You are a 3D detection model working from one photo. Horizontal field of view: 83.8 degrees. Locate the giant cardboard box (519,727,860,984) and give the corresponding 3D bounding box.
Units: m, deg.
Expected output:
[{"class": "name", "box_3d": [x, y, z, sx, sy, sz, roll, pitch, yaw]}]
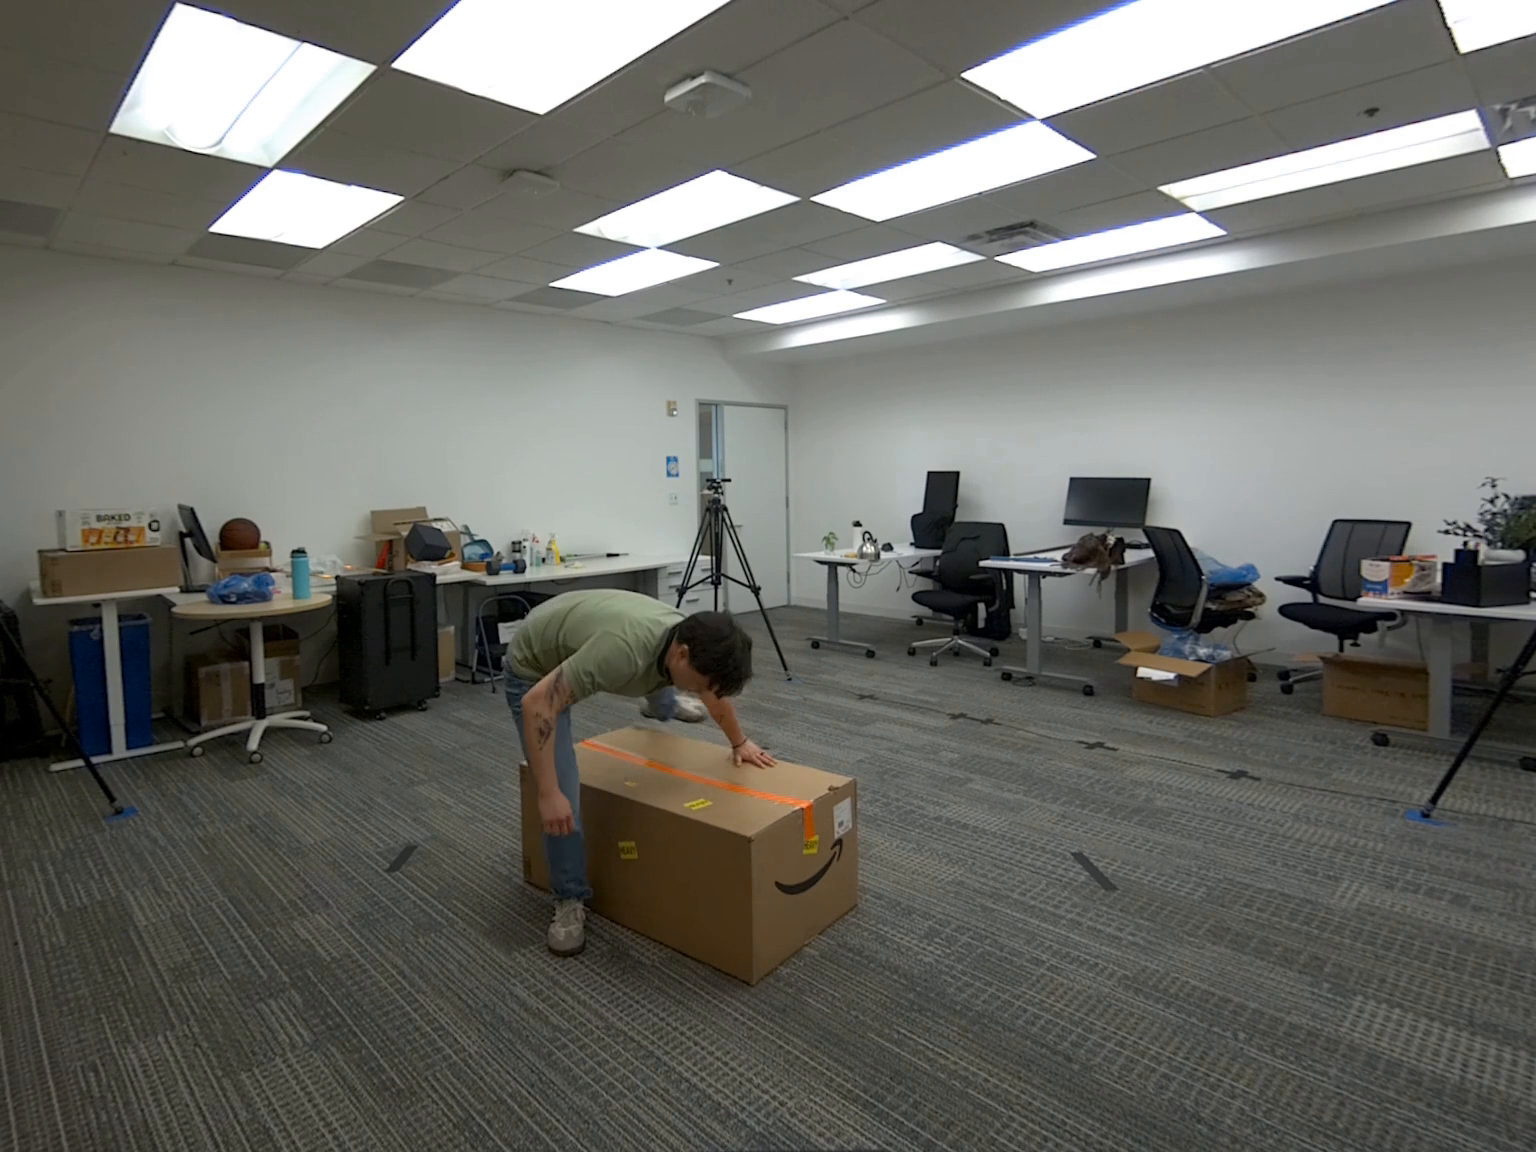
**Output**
[{"class": "giant cardboard box", "box_3d": [-0.282, 0.862, 2.890, 1.057, 0.424, 0.563, 4, 8, 38]}]
